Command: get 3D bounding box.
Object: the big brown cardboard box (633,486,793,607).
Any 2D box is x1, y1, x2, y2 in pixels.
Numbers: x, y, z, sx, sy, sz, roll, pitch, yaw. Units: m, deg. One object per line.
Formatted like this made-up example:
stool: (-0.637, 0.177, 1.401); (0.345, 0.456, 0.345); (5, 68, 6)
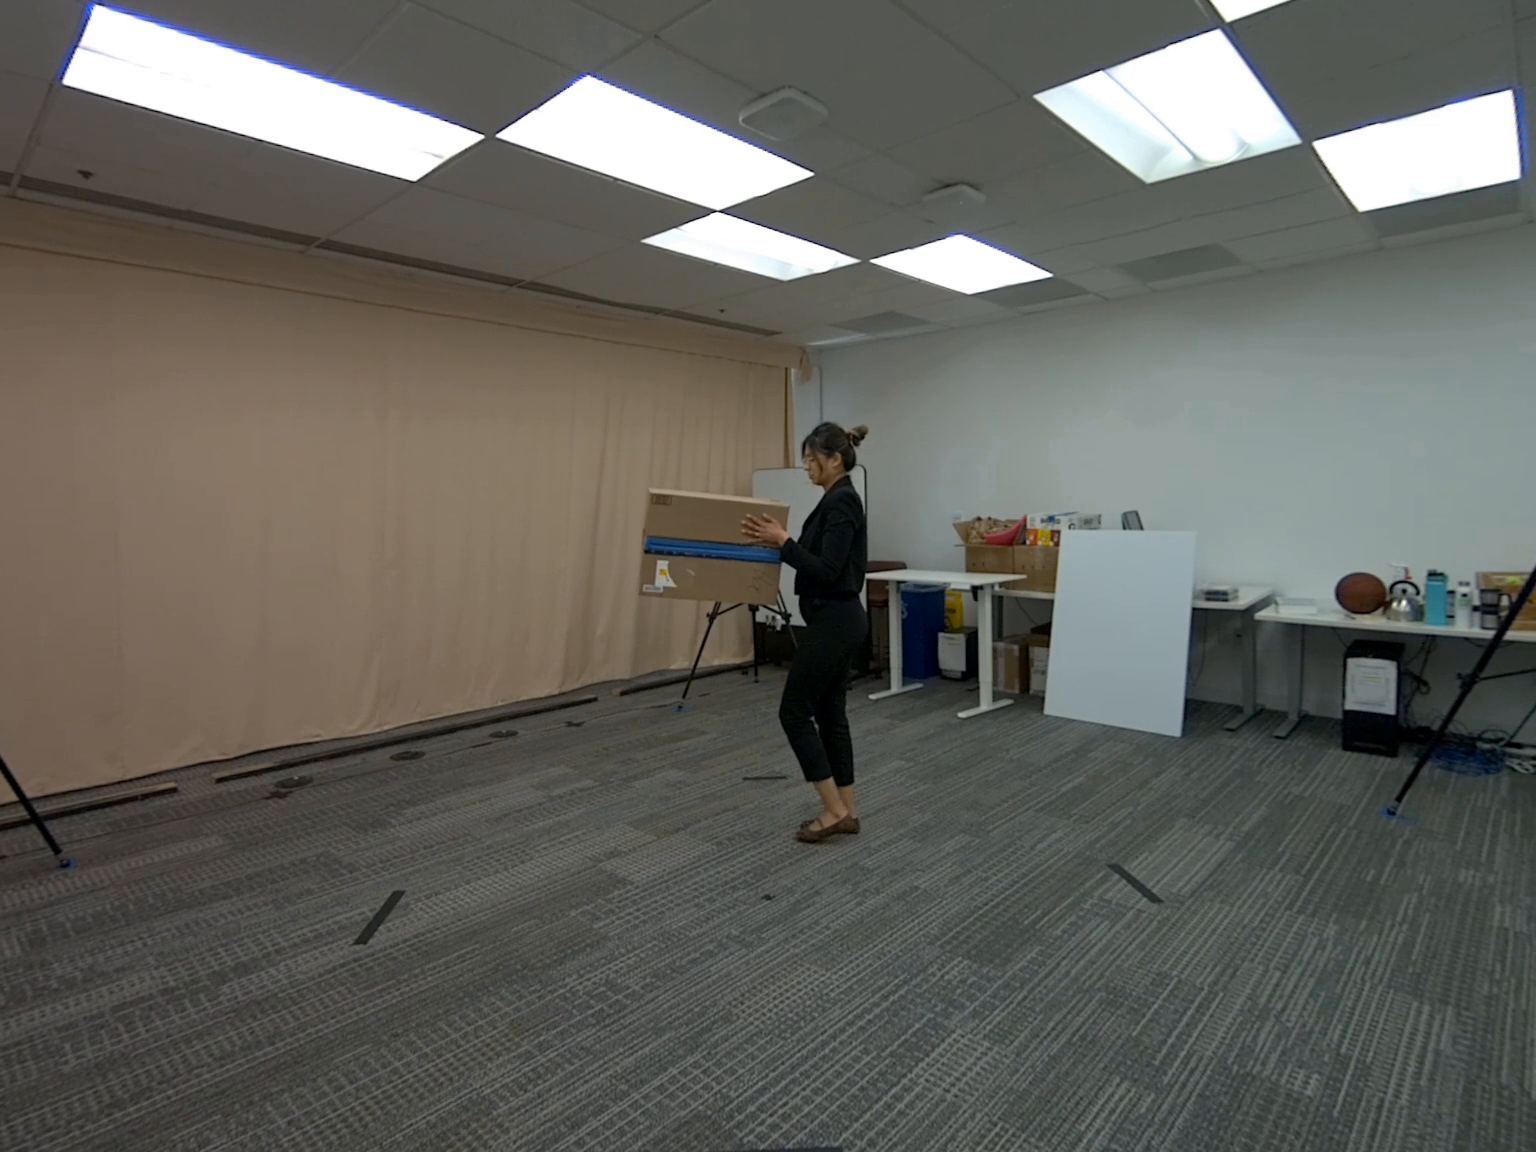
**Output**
big brown cardboard box: (-0.237, -0.126, 3.482); (0.583, 0.415, 0.236); (4, 9, -9)
